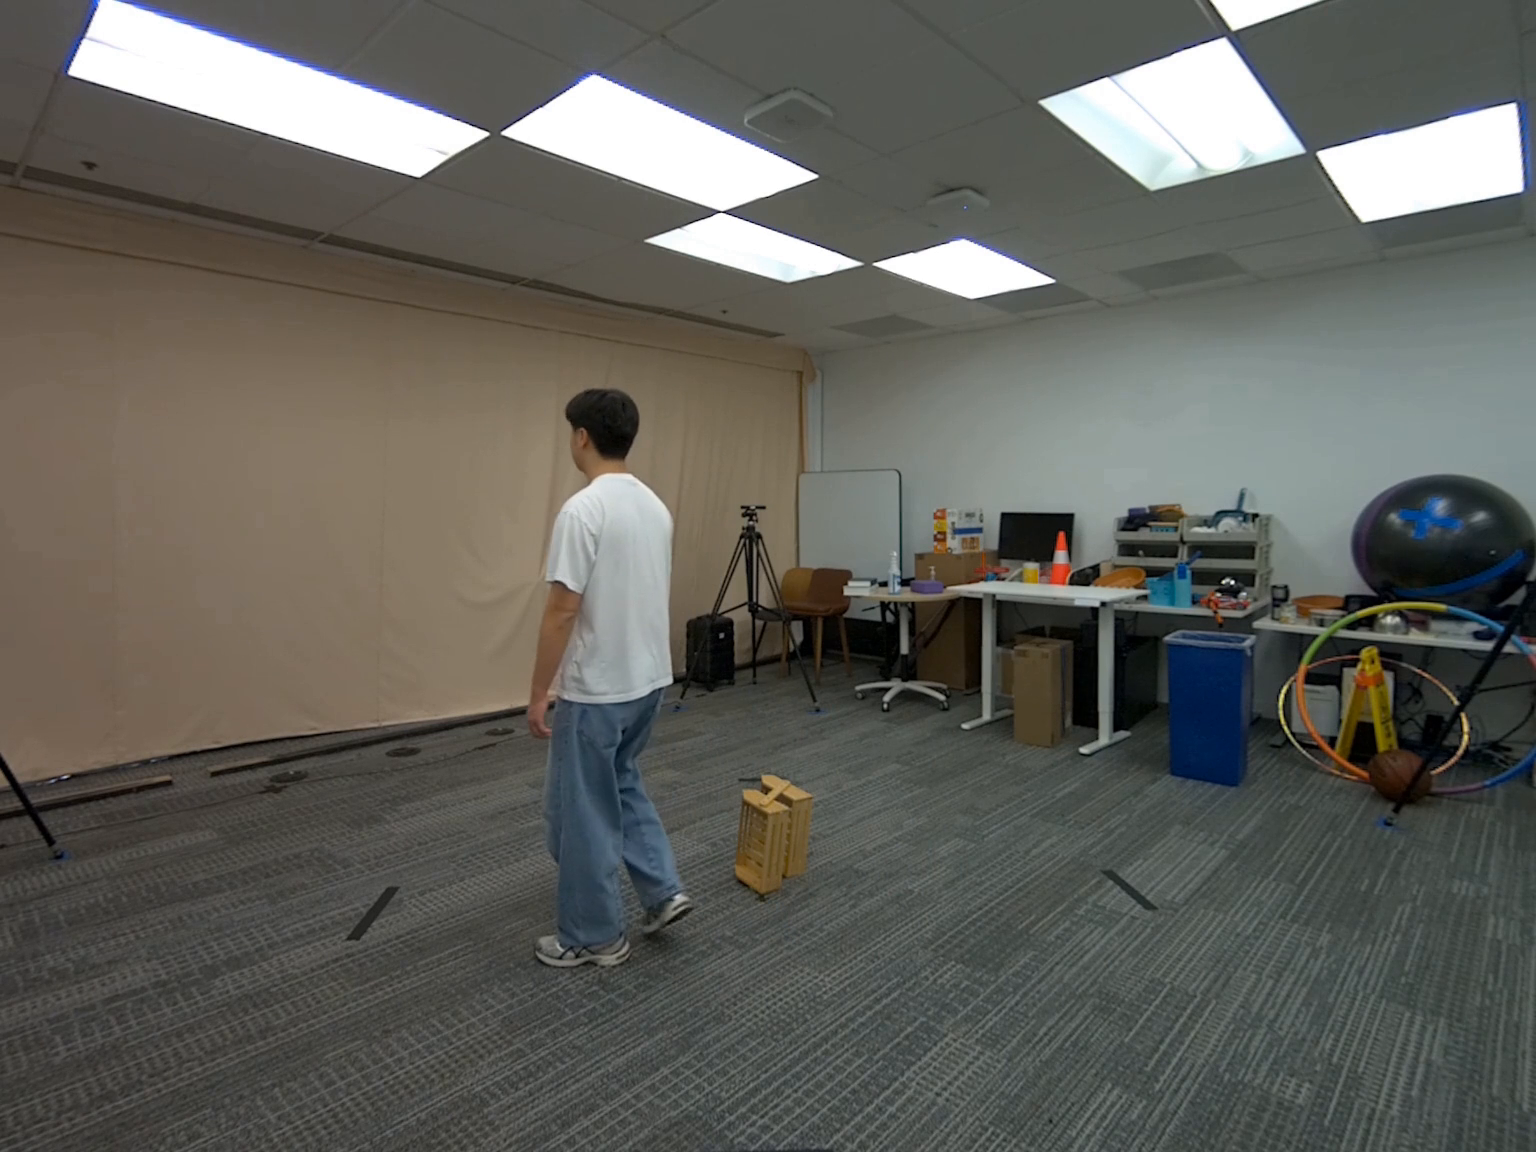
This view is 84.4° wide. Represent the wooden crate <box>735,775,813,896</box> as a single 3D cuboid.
[{"bbox_3d":[-0.006,0.959,3.175,0.264,0.323,0.312,2,7,-40],"label":"wooden crate"}]
